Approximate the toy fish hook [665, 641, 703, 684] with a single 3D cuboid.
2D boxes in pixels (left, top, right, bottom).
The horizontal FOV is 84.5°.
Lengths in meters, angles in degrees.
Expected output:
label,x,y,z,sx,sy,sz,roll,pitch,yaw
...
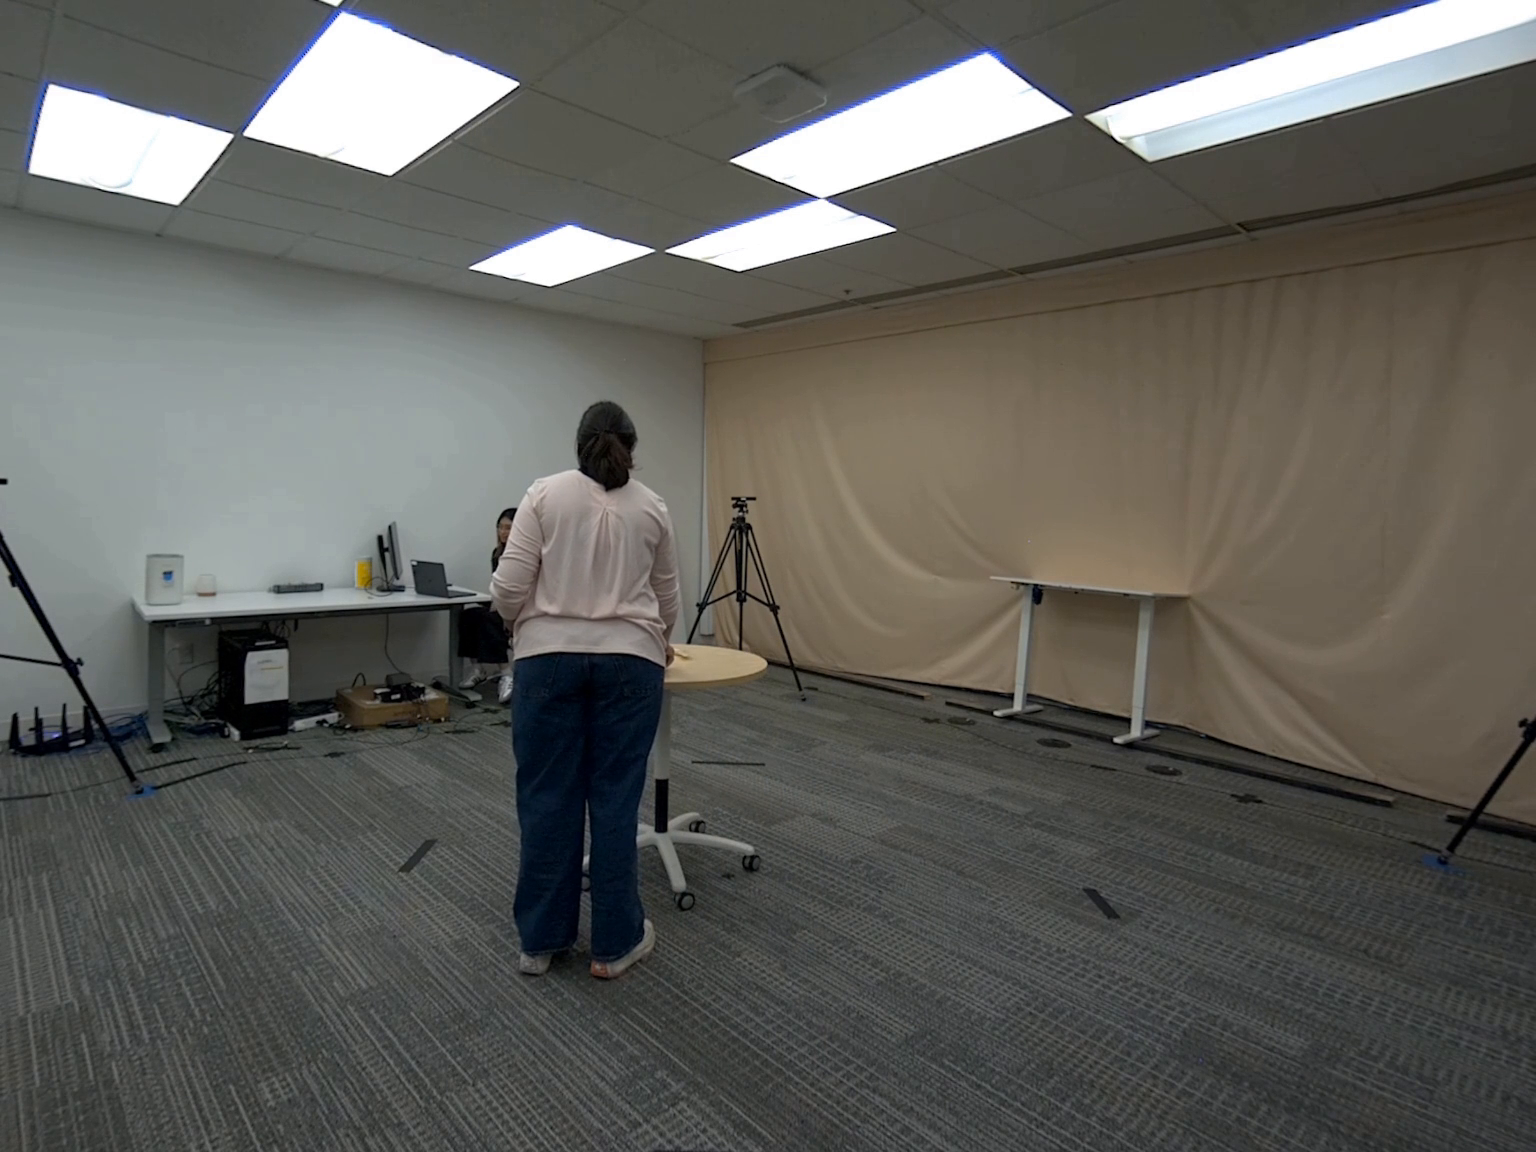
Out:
label,x,y,z,sx,sy,sz,roll,pitch,yaw
toy fish hook,-0.386,0.307,3.056,0.223,0.048,0.512,-2,5,-12
